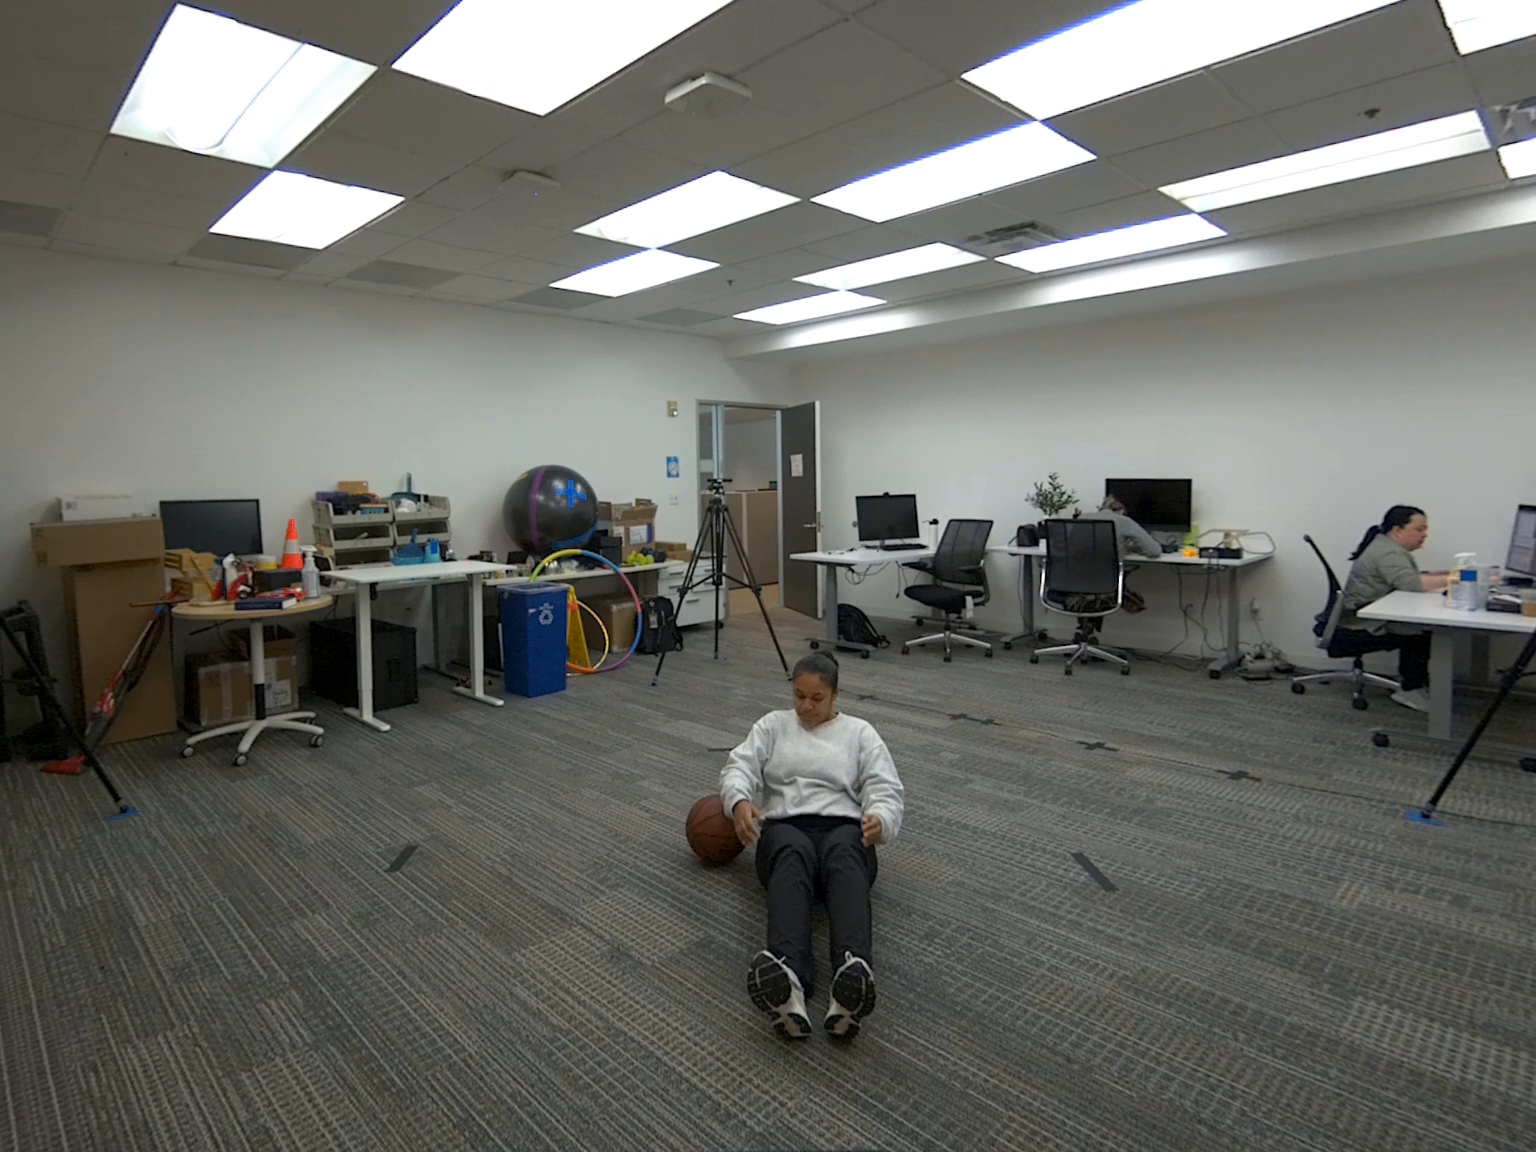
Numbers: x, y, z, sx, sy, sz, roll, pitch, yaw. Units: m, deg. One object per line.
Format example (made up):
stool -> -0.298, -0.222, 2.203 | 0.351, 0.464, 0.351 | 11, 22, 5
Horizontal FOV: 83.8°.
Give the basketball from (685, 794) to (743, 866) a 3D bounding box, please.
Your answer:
basketball -> -0.179, 0.920, 3.131 | 0.236, 0.235, 0.237 | -1, 5, -2
